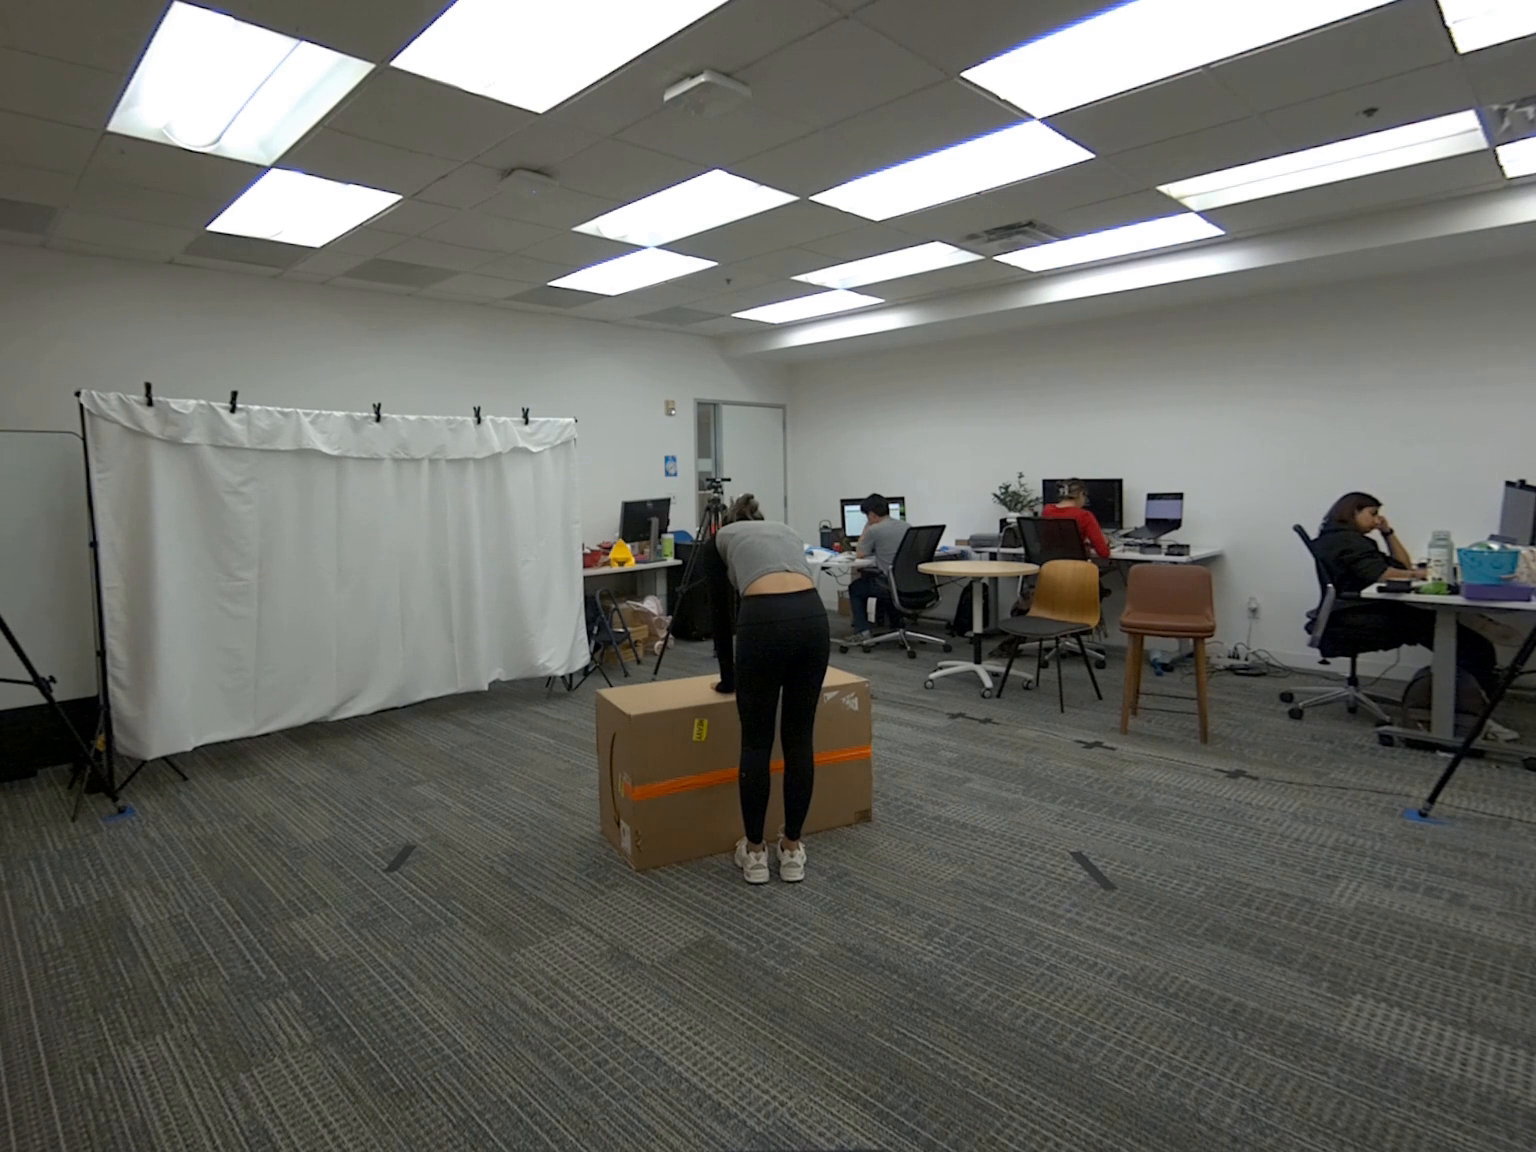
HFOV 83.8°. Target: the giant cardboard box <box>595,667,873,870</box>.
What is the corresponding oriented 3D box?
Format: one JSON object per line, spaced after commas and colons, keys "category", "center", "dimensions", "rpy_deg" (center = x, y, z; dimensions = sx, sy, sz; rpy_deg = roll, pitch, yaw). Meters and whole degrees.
{"category": "giant cardboard box", "center": [-0.131, 0.719, 3.428], "dimensions": [1.005, 0.575, 0.437], "rpy_deg": [-4, 5, -25]}
